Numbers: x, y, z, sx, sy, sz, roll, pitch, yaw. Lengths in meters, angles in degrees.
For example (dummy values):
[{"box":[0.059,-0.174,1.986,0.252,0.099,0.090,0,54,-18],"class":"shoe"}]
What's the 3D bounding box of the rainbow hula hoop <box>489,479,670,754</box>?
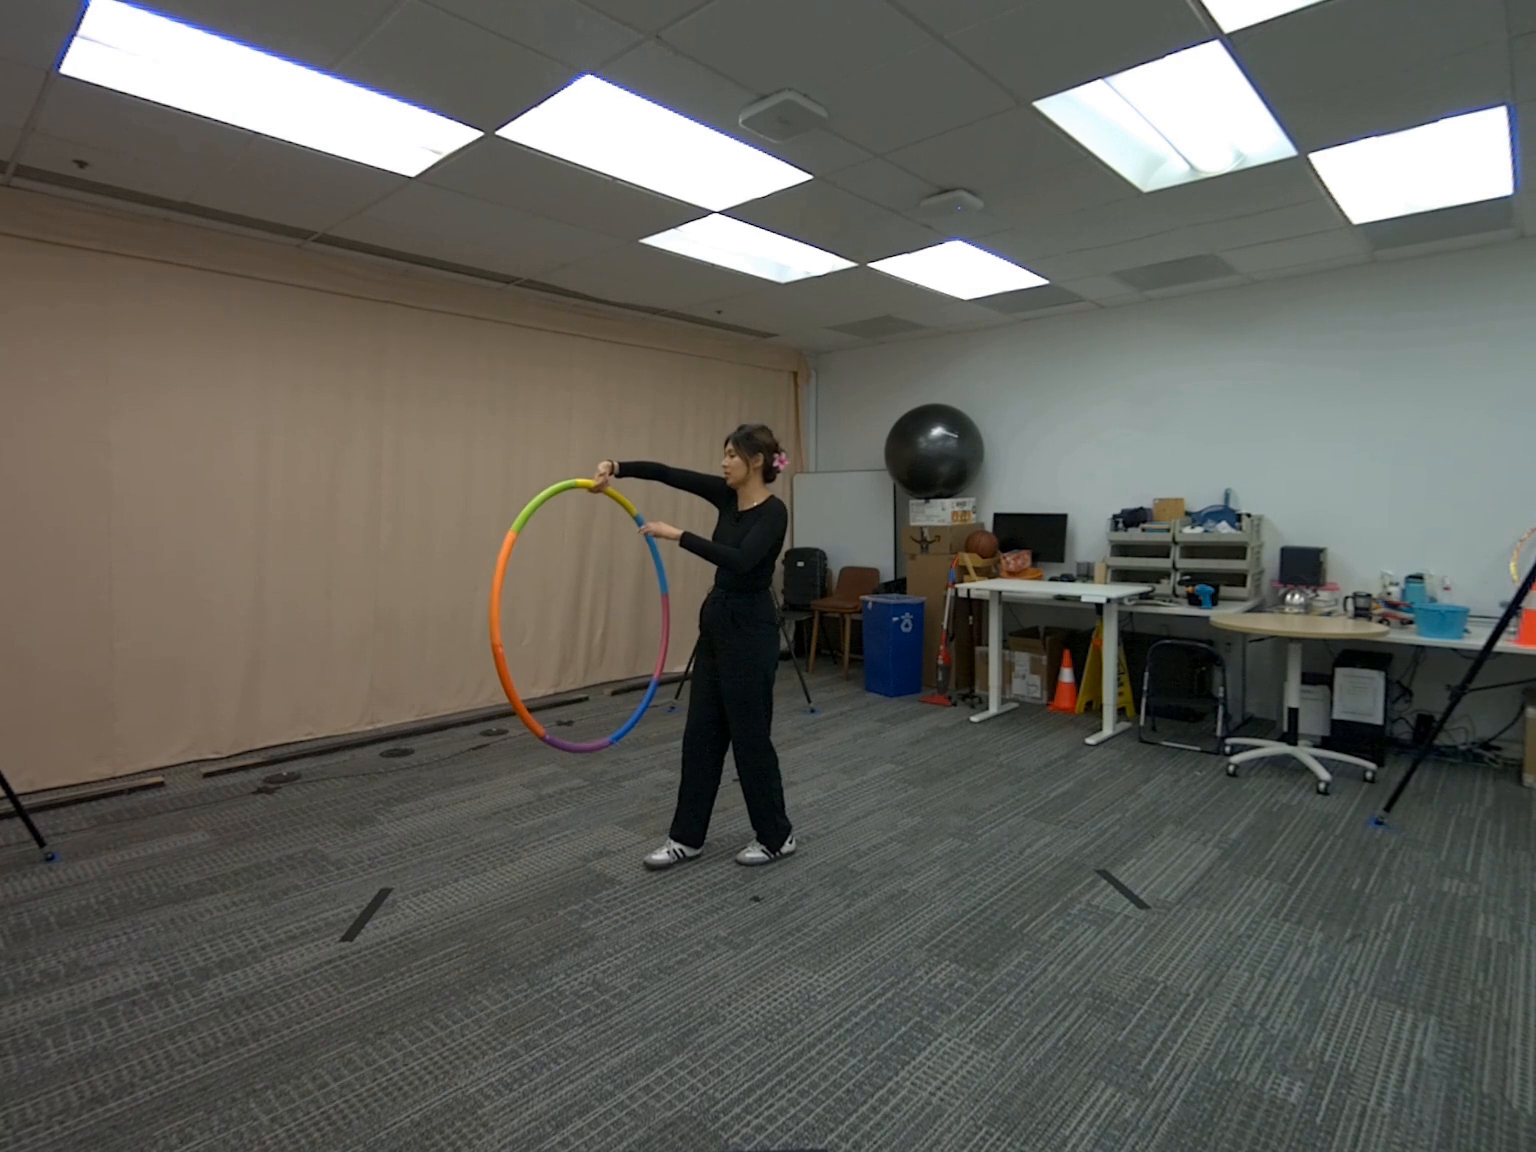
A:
[{"box":[-0.647,0.143,3.090,0.053,0.984,0.960,-3,2,28],"class":"rainbow hula hoop"}]
